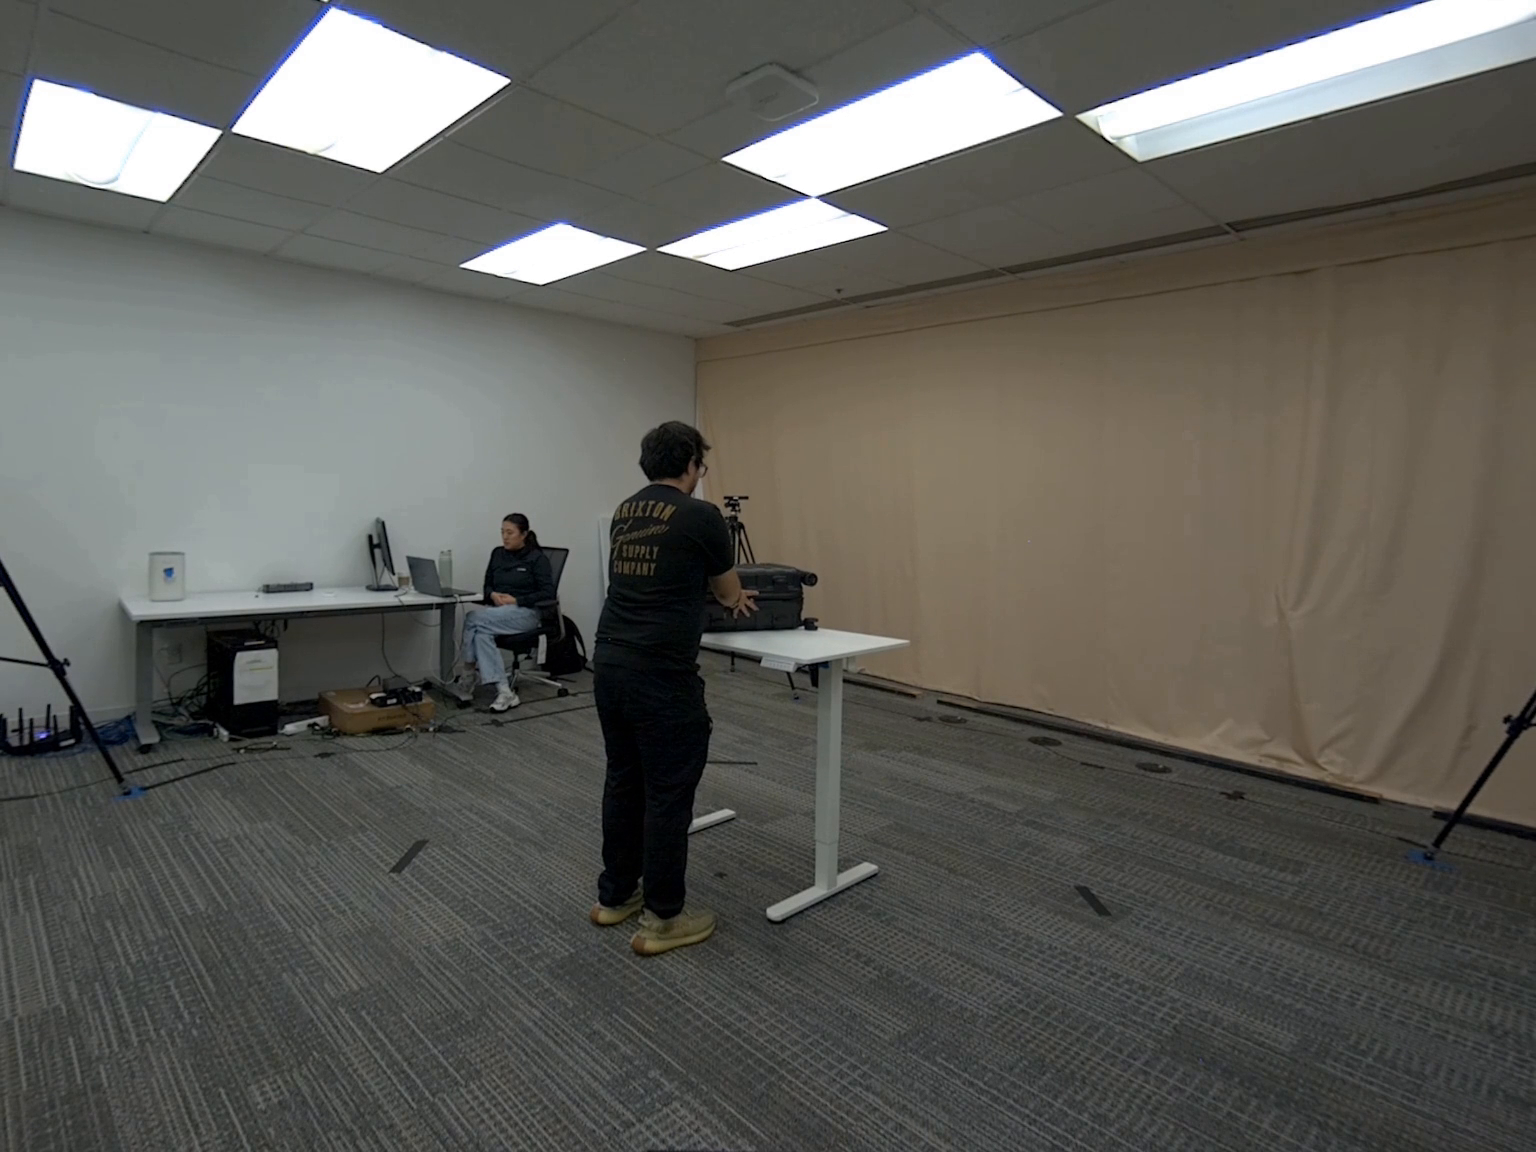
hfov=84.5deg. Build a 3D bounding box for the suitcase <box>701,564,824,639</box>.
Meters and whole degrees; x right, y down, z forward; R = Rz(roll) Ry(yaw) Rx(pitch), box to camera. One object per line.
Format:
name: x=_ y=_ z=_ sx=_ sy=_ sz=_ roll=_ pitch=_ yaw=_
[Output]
suitcase: x=-0.118 y=0.087 z=3.351 sx=0.540 sy=0.248 sz=0.383 roll=0 pitch=4 yaw=-24
